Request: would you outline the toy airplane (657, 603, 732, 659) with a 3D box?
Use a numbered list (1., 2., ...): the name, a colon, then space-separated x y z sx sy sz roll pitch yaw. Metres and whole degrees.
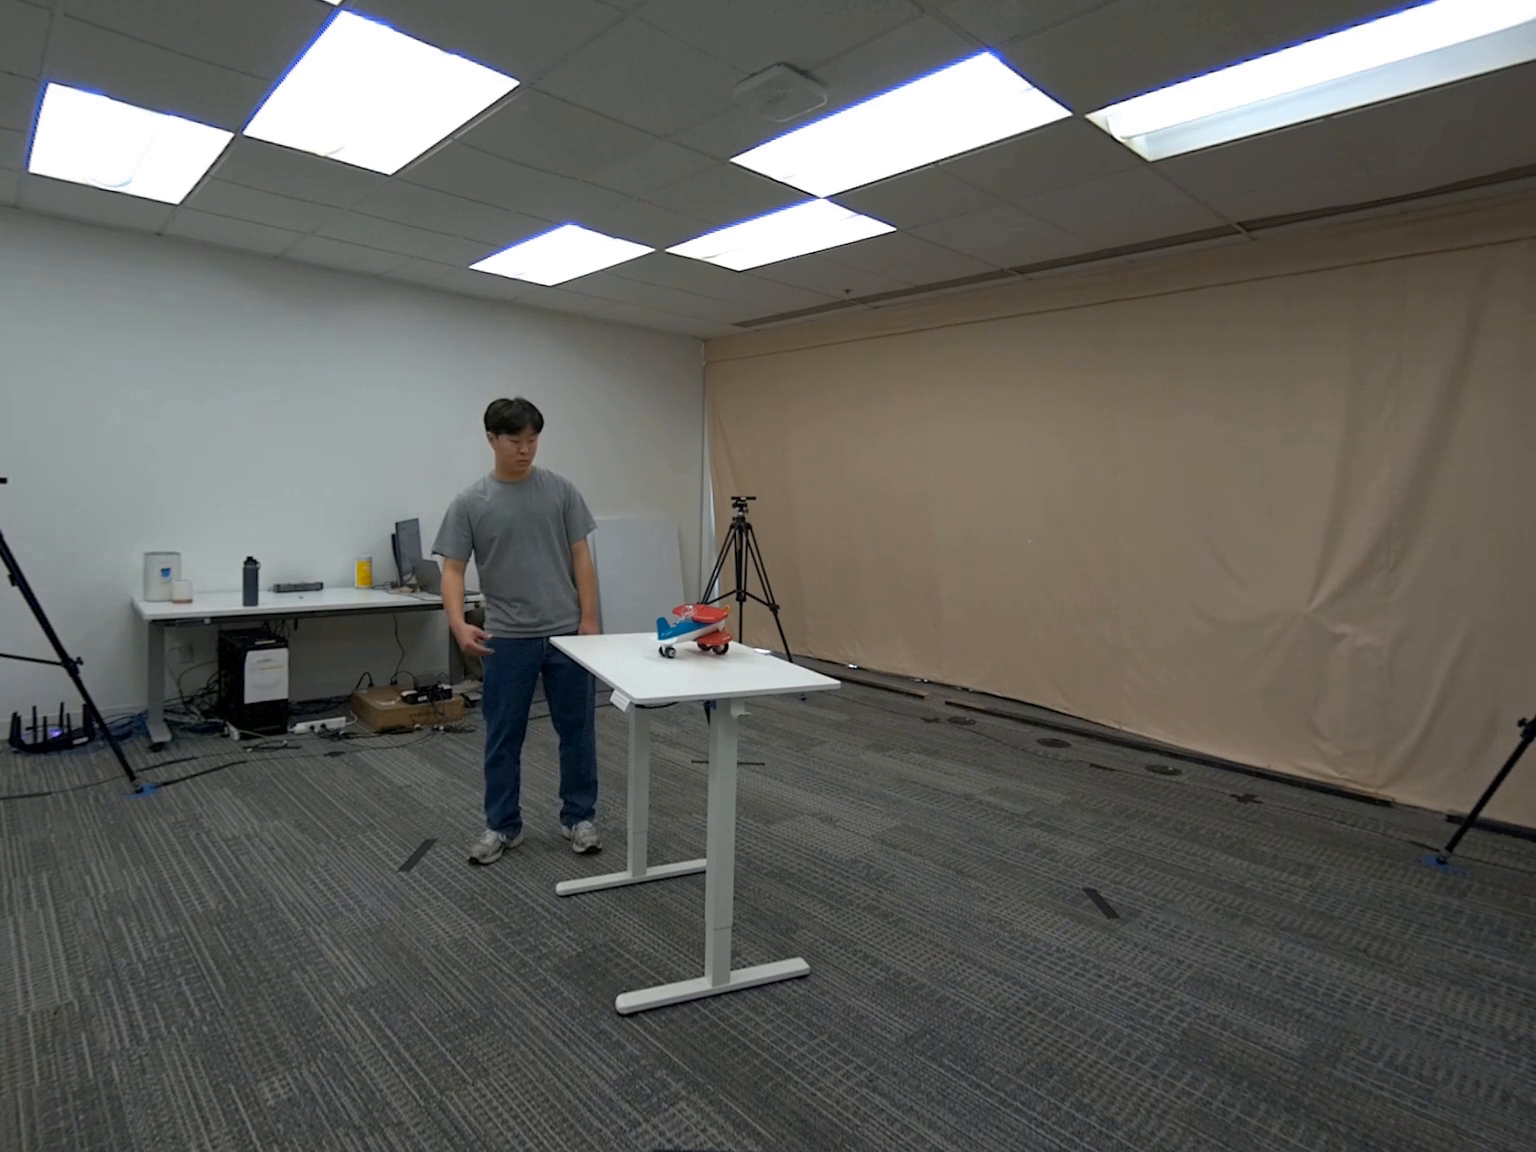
1. toy airplane: -0.240 0.180 2.705 0.256 0.156 0.255 2 3 24
